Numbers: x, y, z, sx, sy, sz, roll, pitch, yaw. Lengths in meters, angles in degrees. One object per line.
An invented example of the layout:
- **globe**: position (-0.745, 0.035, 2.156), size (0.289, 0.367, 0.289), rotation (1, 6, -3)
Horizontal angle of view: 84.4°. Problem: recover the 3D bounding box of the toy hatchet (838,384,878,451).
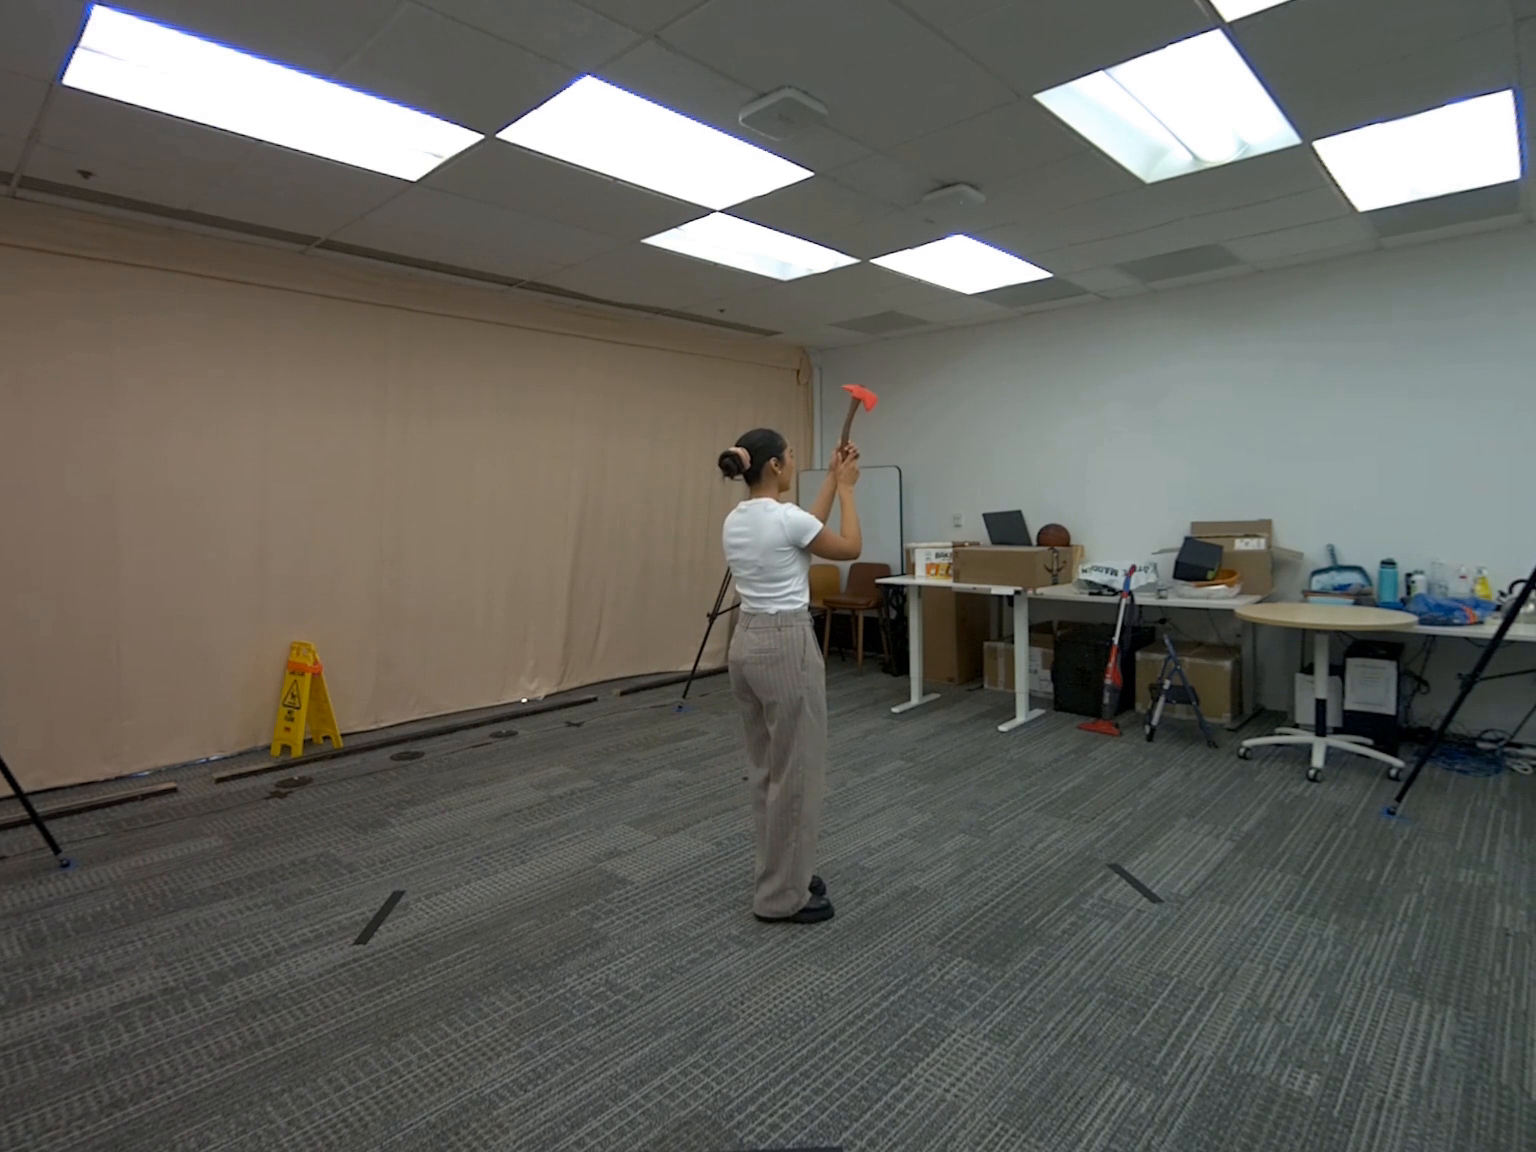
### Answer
- **toy hatchet**: position (0.327, -0.546, 2.972), size (0.130, 0.269, 0.030), rotation (3, 4, -3)
